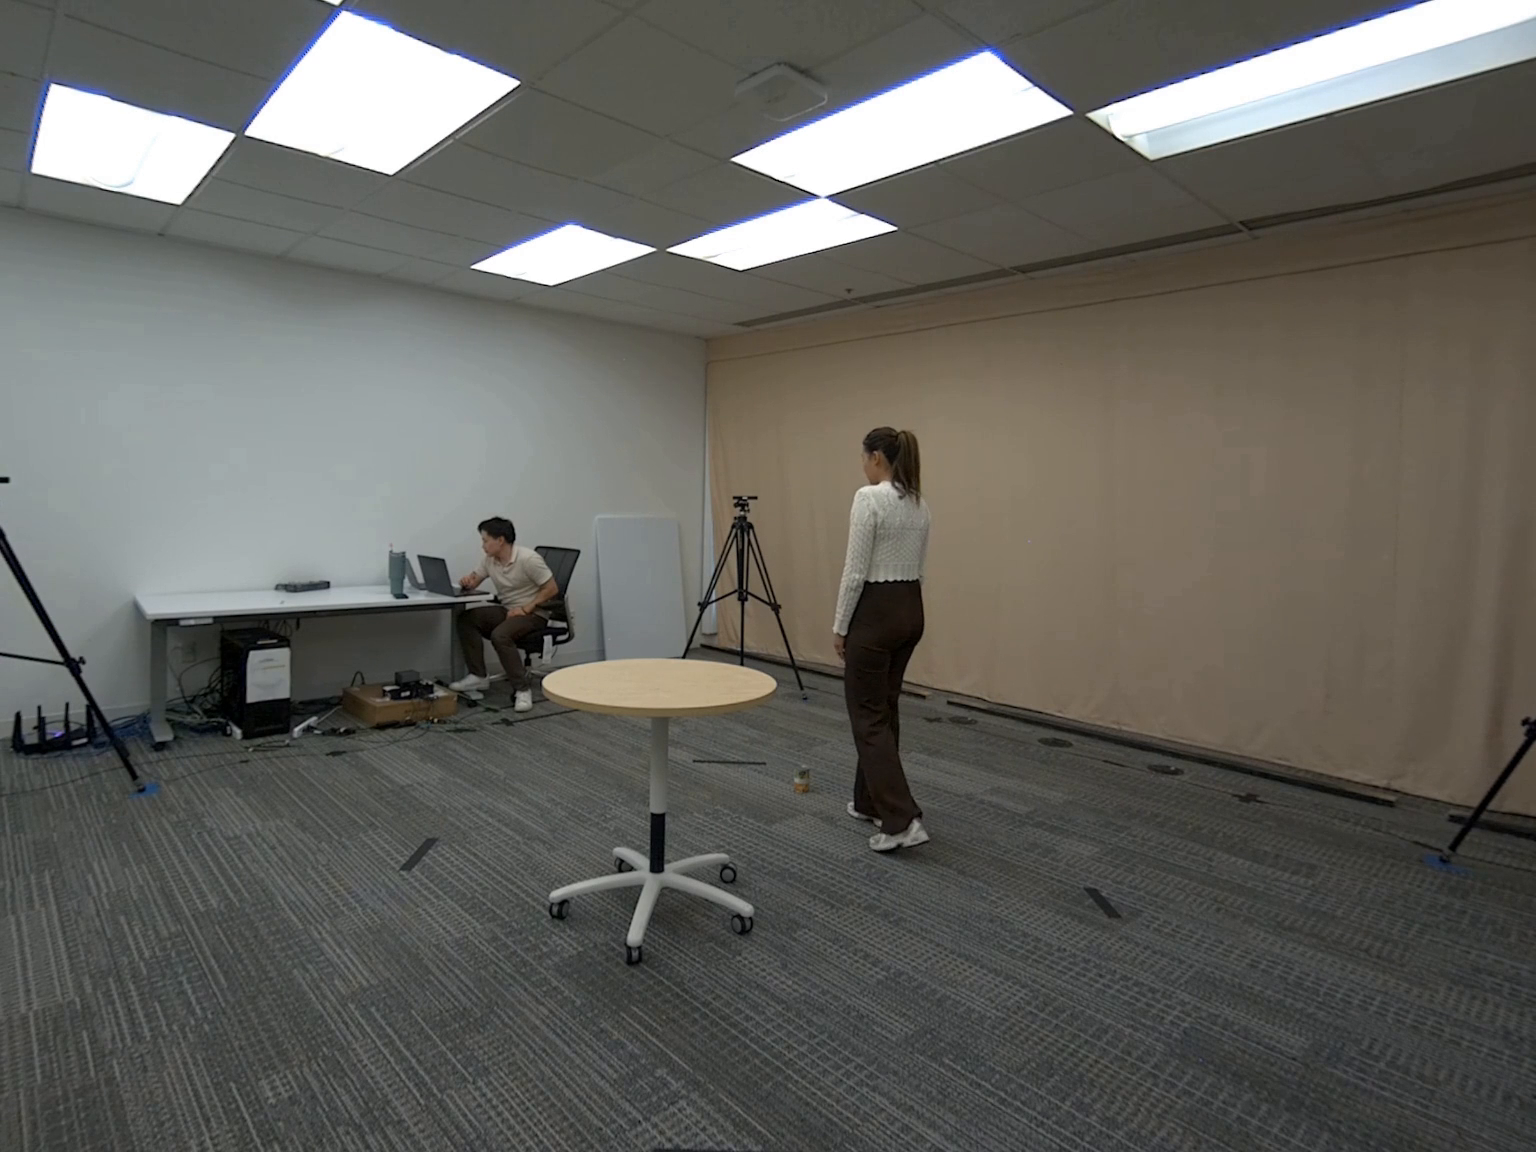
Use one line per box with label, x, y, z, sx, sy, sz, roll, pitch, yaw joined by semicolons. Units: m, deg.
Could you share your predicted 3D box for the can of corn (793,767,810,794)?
can of corn;0.152;0.974;4.044;0.074;0.111;0.074;1;0;-1
